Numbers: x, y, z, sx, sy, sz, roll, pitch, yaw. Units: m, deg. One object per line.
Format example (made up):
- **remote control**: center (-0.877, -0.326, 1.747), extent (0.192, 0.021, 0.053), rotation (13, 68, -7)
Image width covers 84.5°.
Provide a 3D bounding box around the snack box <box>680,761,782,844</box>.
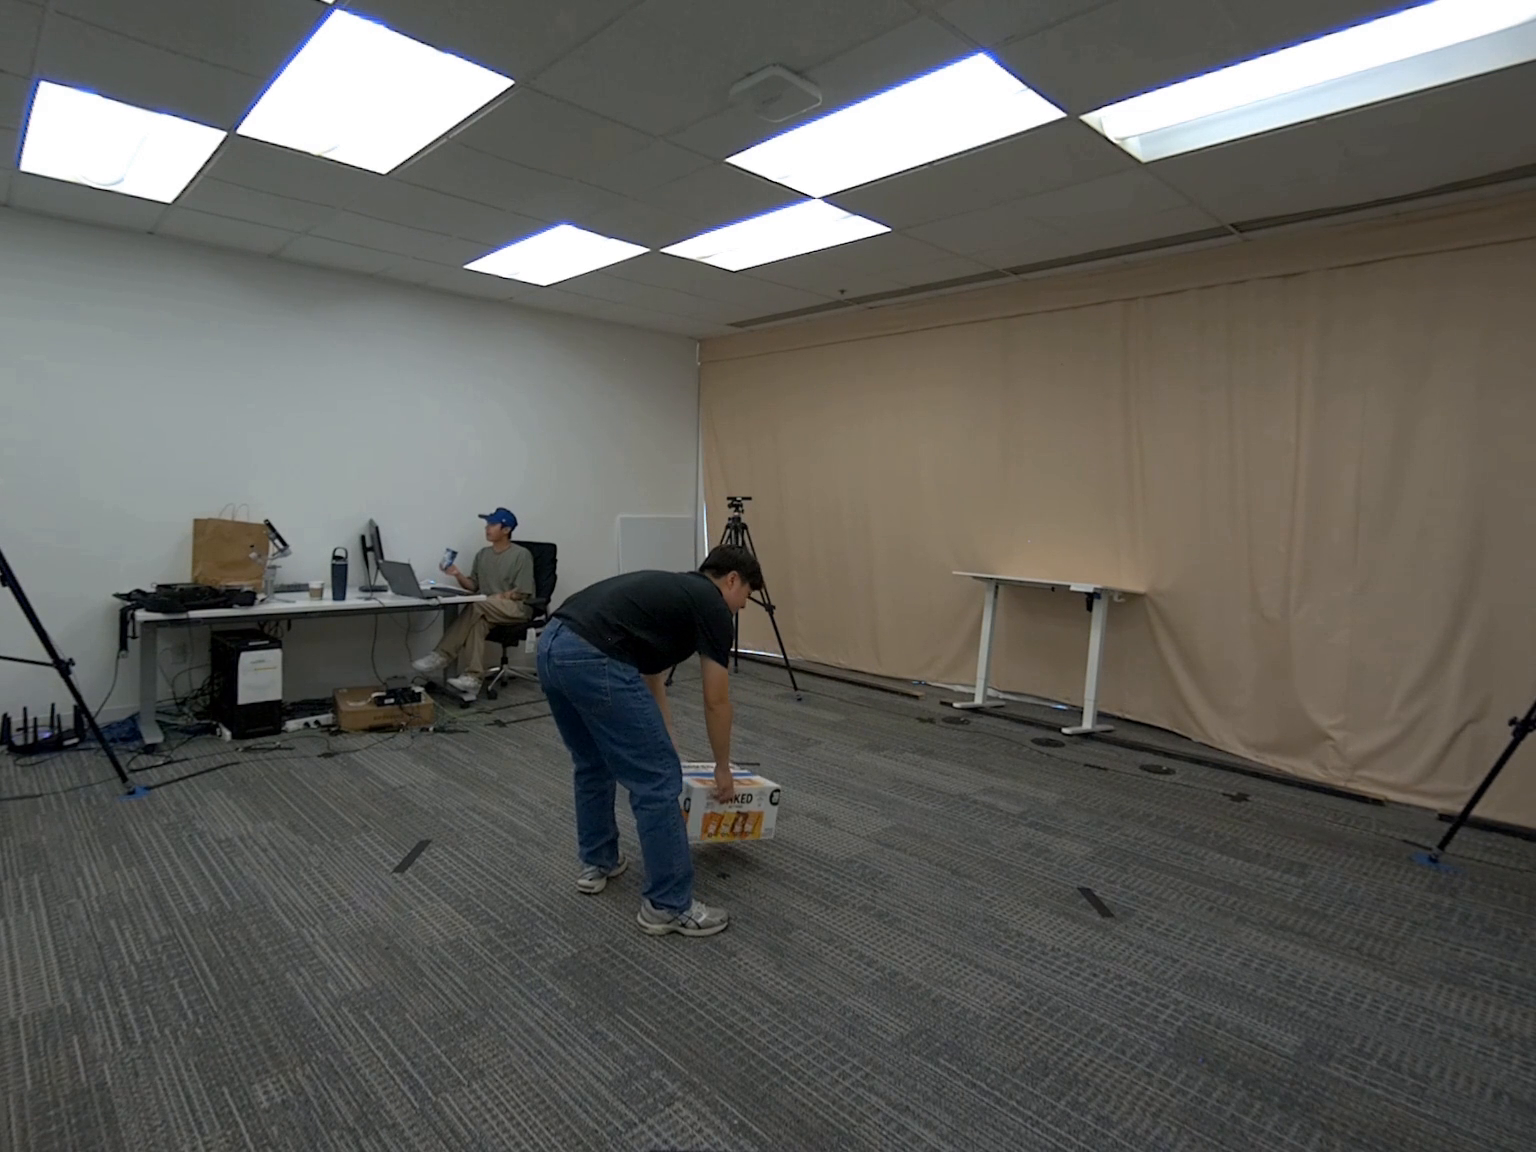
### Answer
- **snack box**: center (-0.223, 0.854, 3.216), extent (0.395, 0.206, 0.349), rotation (10, -2, -37)
